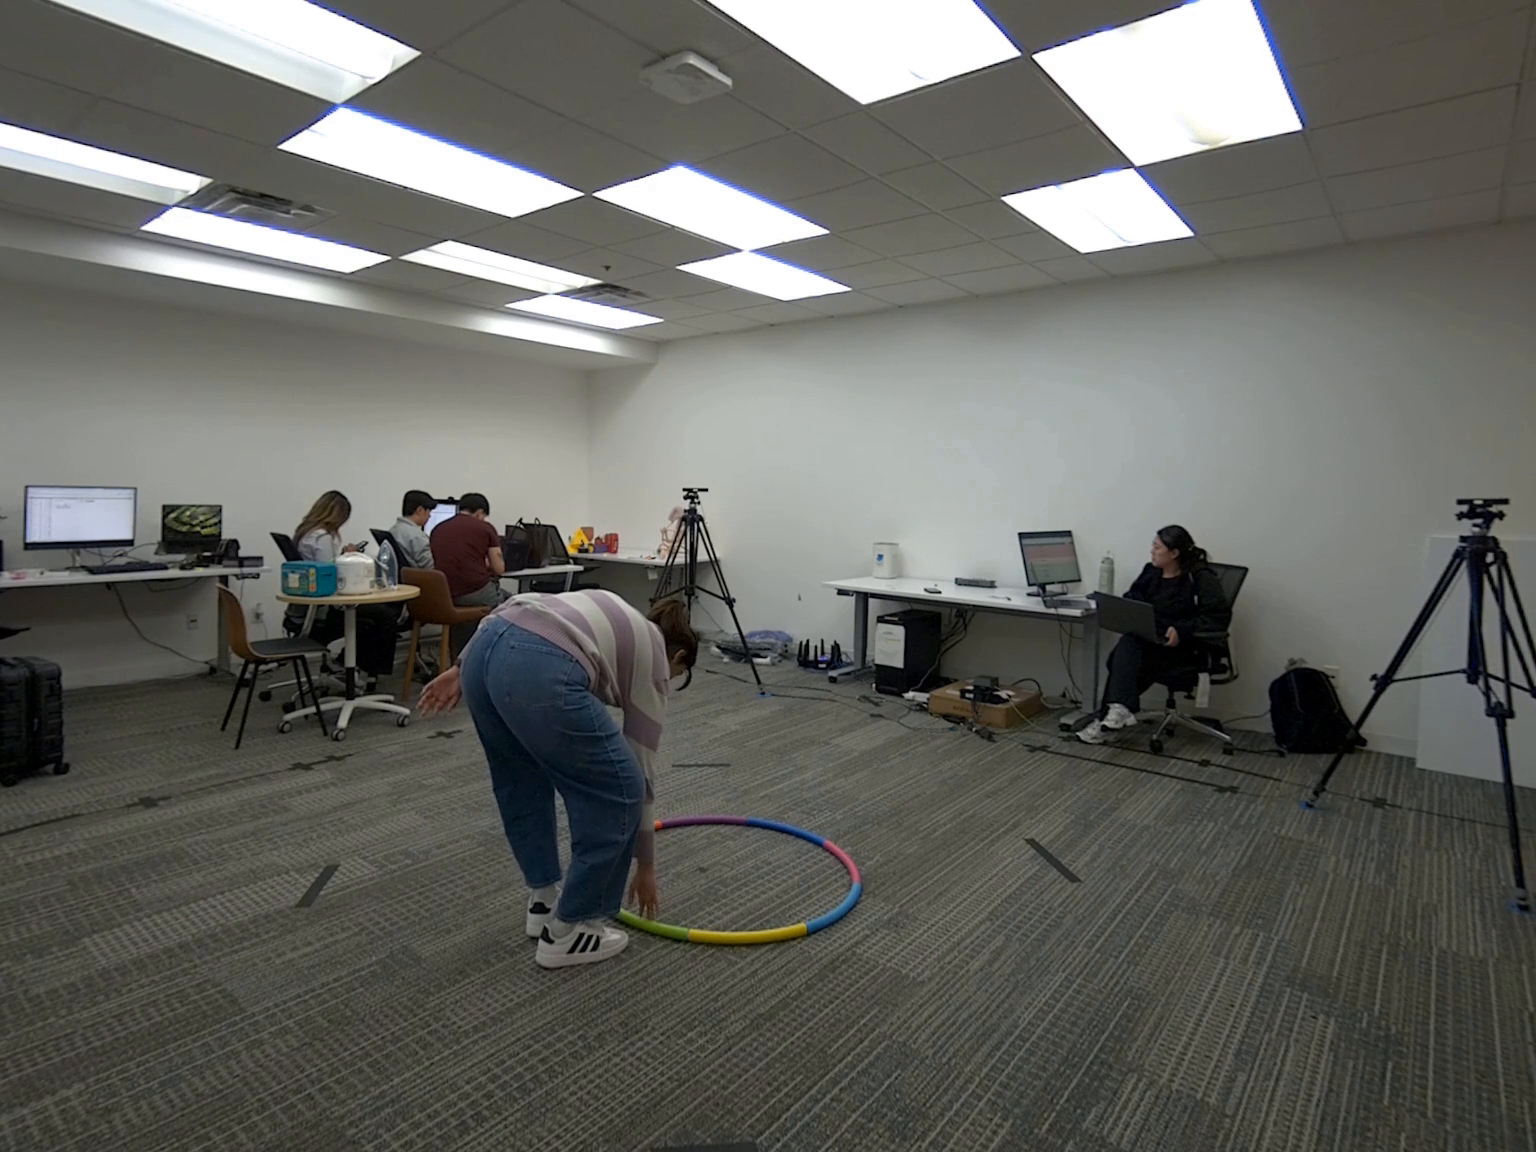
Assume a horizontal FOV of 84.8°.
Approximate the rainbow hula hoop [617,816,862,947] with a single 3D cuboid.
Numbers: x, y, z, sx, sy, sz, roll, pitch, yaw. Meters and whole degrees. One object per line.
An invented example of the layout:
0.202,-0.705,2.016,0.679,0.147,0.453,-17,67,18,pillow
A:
-0.168,1.047,3.061,0.984,0.051,0.990,1,6,-2,rainbow hula hoop
